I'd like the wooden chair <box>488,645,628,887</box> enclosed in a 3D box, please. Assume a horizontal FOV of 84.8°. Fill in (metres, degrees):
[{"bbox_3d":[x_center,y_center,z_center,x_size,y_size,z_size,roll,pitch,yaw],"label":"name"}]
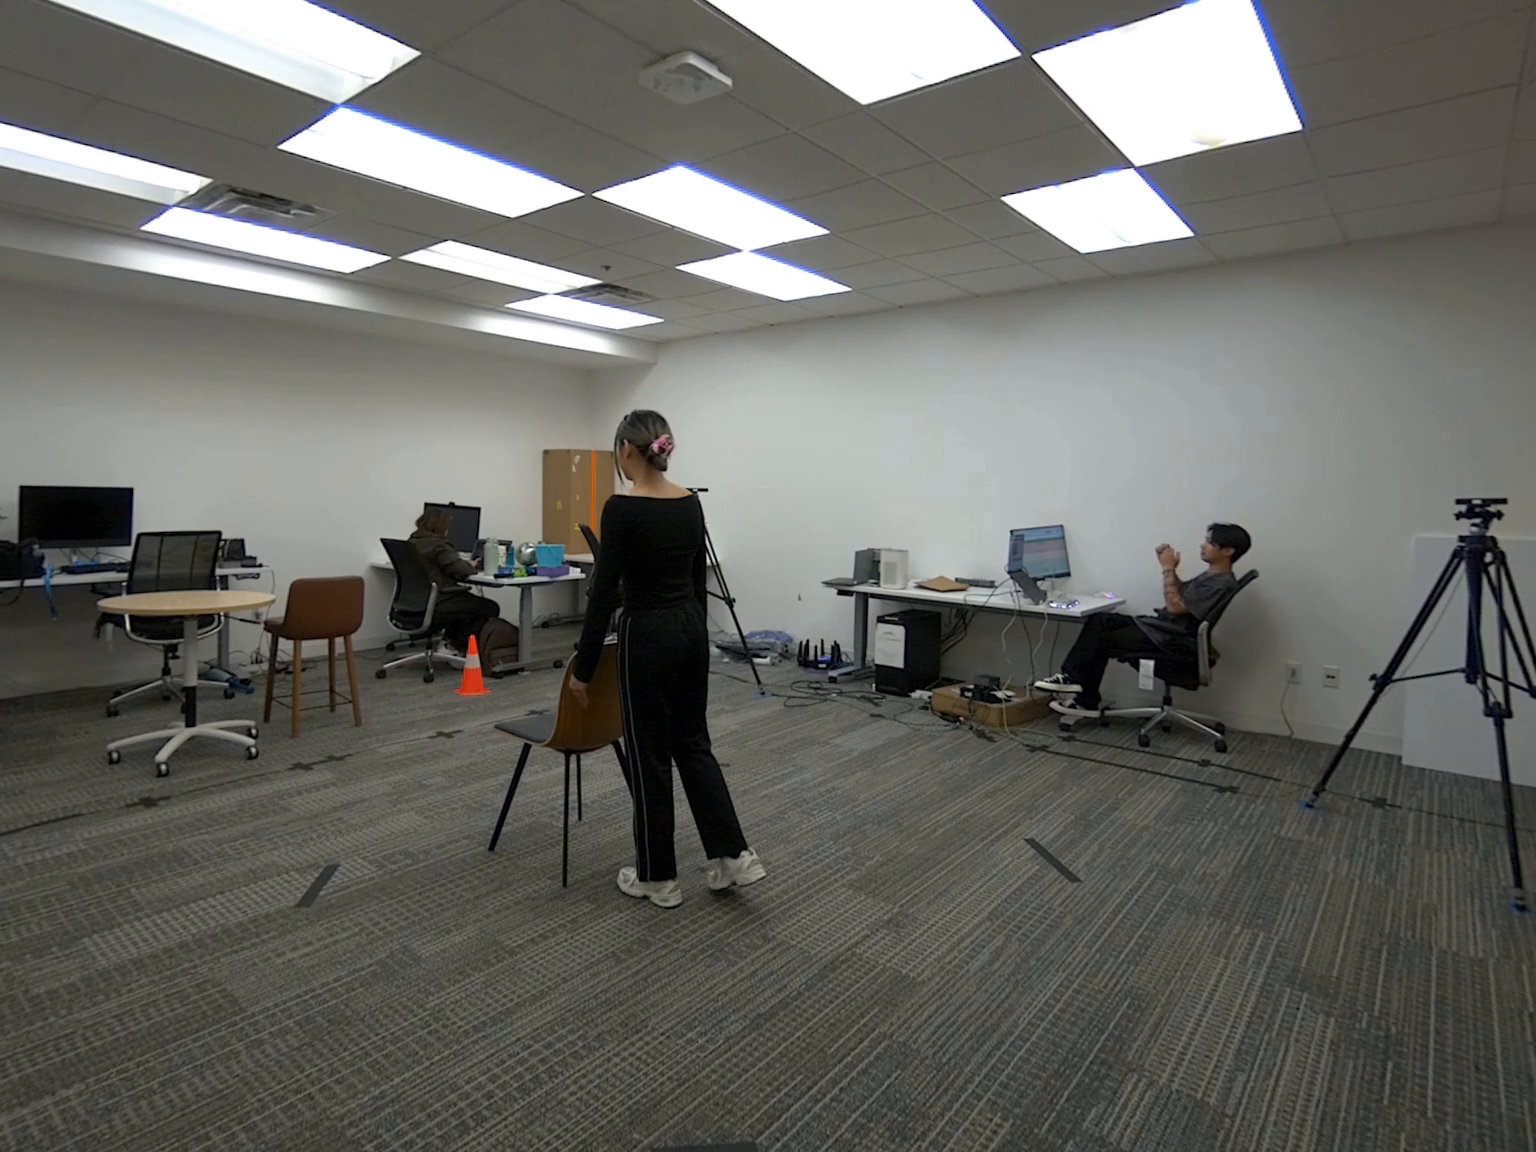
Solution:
[{"bbox_3d":[-0.761,0.622,3.234,0.542,0.873,0.464,10,8,39],"label":"wooden chair"}]
